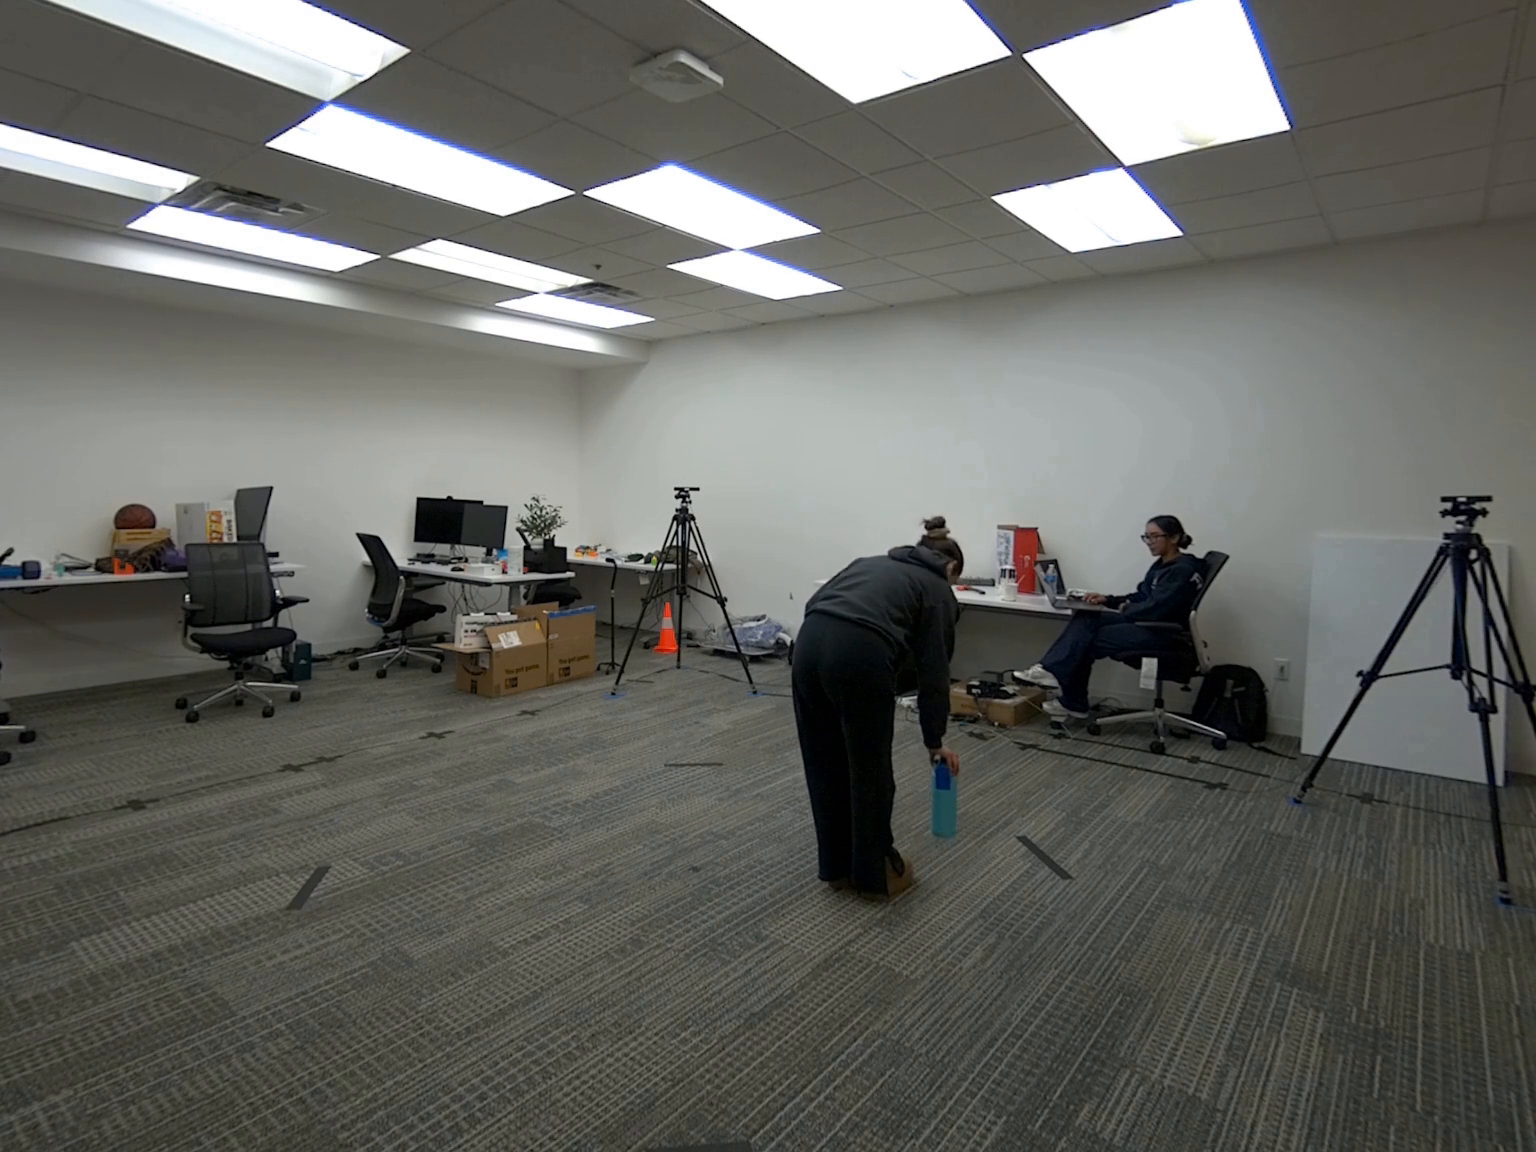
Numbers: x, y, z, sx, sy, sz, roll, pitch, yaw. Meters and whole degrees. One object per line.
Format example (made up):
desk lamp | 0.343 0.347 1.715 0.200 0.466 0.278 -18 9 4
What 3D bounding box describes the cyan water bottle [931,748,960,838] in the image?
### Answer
cyan water bottle | 0.630 0.769 2.999 0.092 0.282 0.093 0 6 -2
